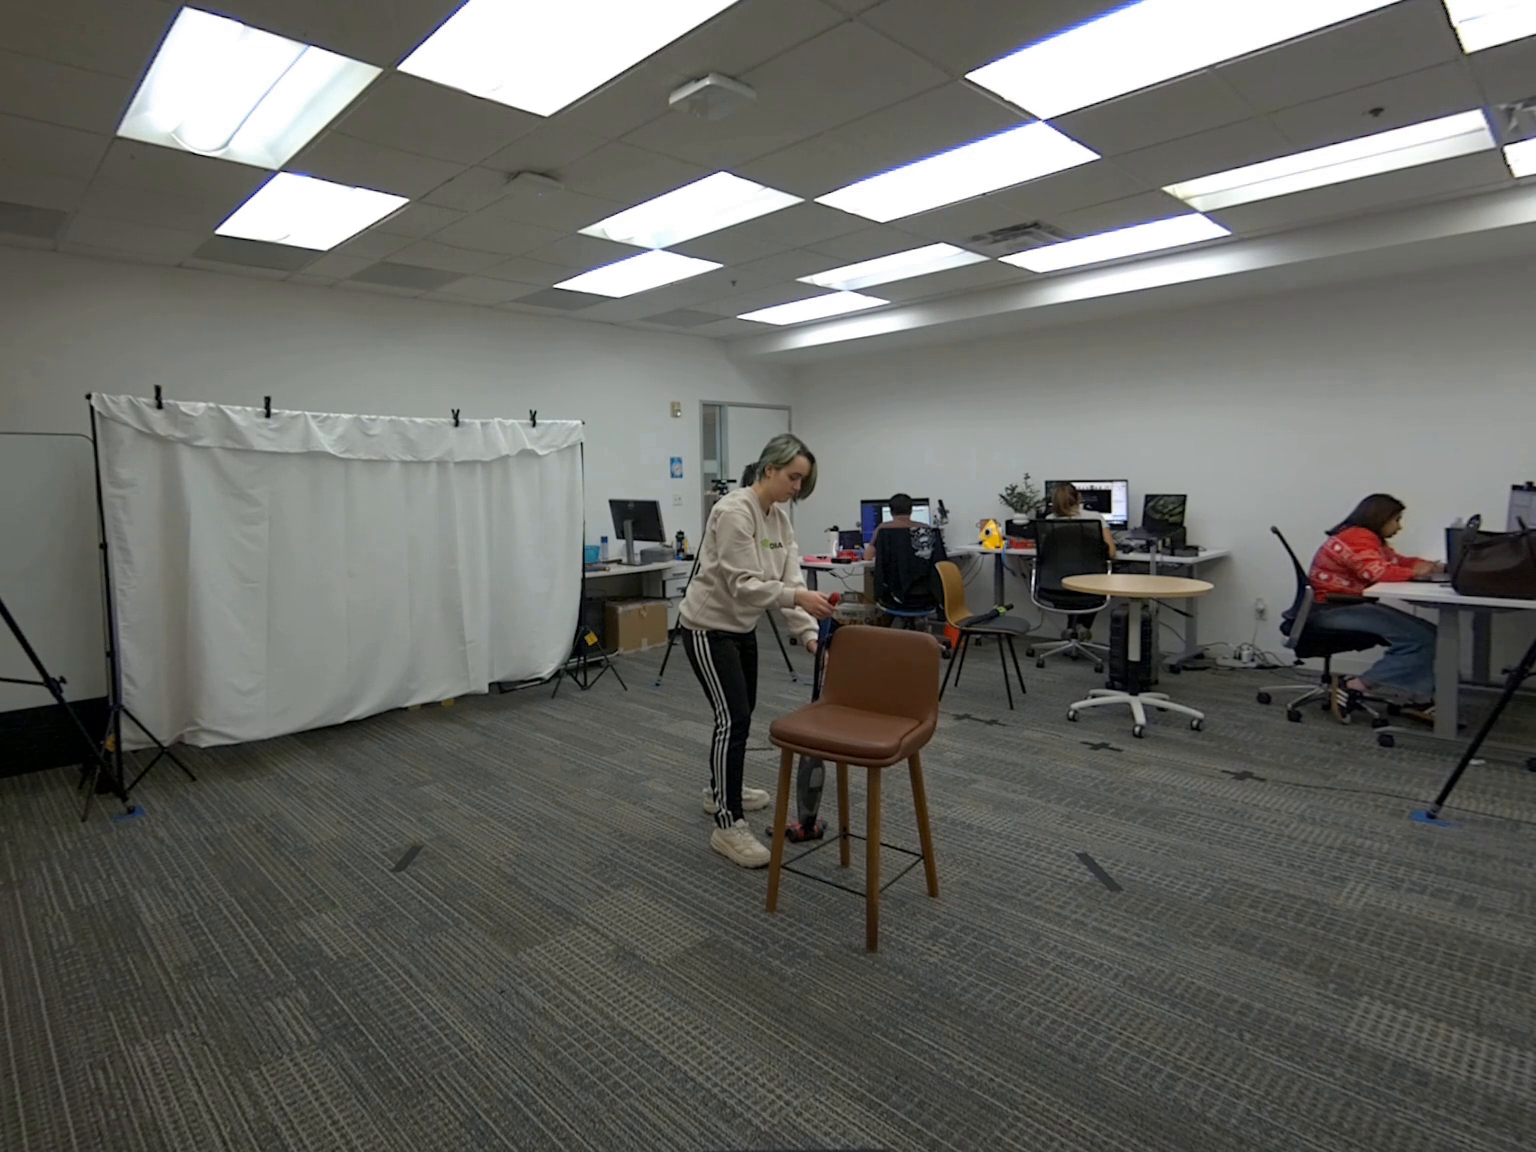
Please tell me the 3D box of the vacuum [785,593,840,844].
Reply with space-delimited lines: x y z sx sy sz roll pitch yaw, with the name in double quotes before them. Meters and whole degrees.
"vacuum" 0.180 0.542 3.165 0.247 1.031 0.149 -5 25 -25
